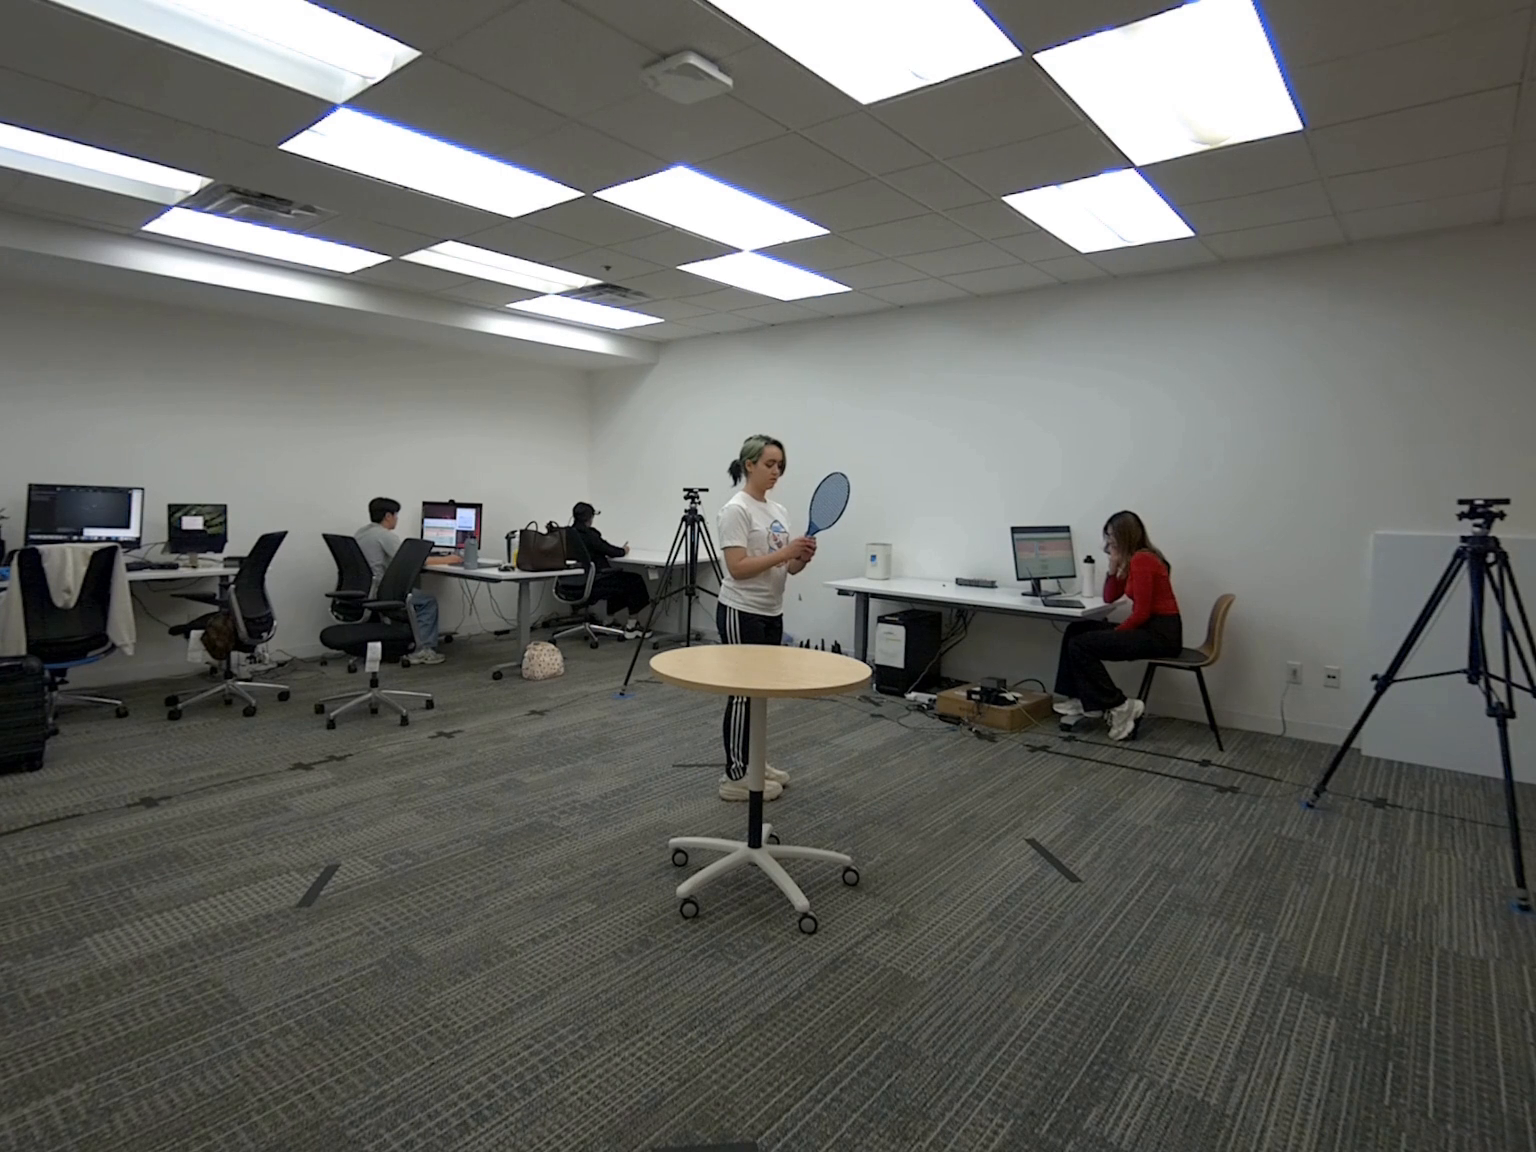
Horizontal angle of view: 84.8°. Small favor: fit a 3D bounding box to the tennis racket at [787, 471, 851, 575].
[{"bbox_3d":[0.208,-0.263,3.681,0.030,0.430,0.223,13,31,-38],"label":"tennis racket"}]
